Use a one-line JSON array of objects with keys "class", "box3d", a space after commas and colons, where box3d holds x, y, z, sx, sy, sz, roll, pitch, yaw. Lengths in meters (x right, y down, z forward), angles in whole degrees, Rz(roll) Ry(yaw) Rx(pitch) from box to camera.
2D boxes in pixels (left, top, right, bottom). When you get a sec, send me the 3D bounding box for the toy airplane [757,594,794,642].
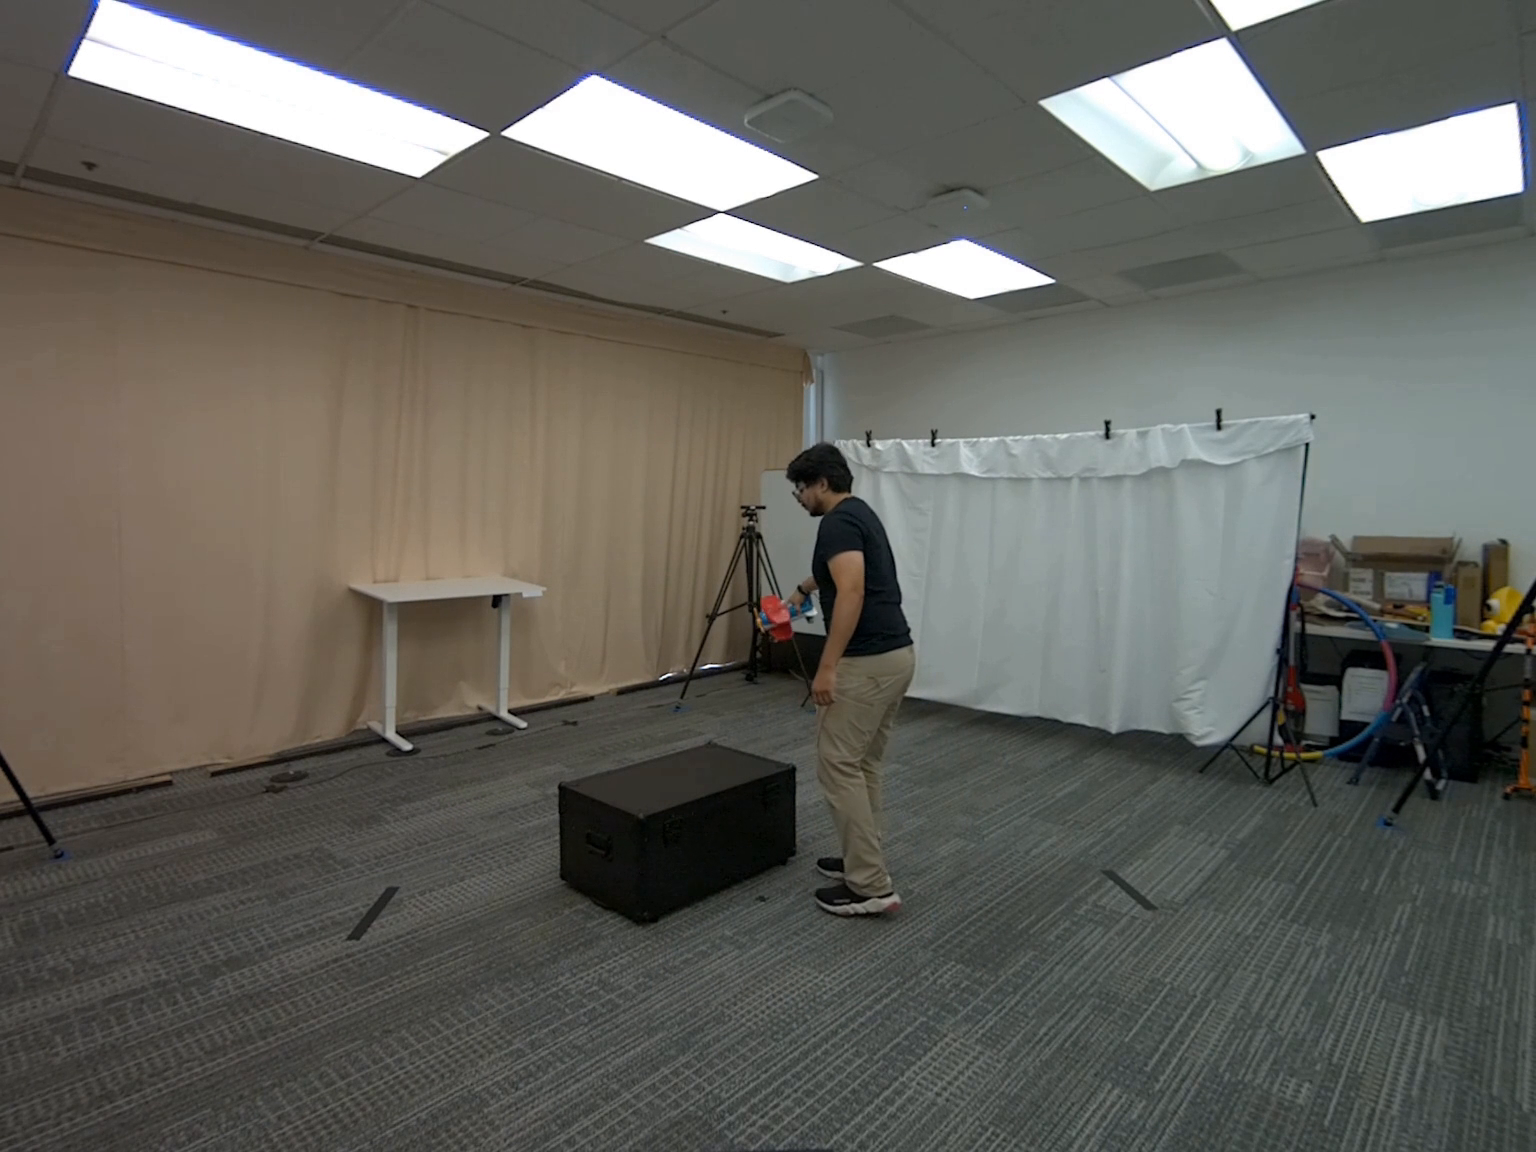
[{"class": "toy airplane", "box3d": [0.083, 0.175, 3.672, 0.256, 0.152, 0.260, -41, 31, -26]}]
